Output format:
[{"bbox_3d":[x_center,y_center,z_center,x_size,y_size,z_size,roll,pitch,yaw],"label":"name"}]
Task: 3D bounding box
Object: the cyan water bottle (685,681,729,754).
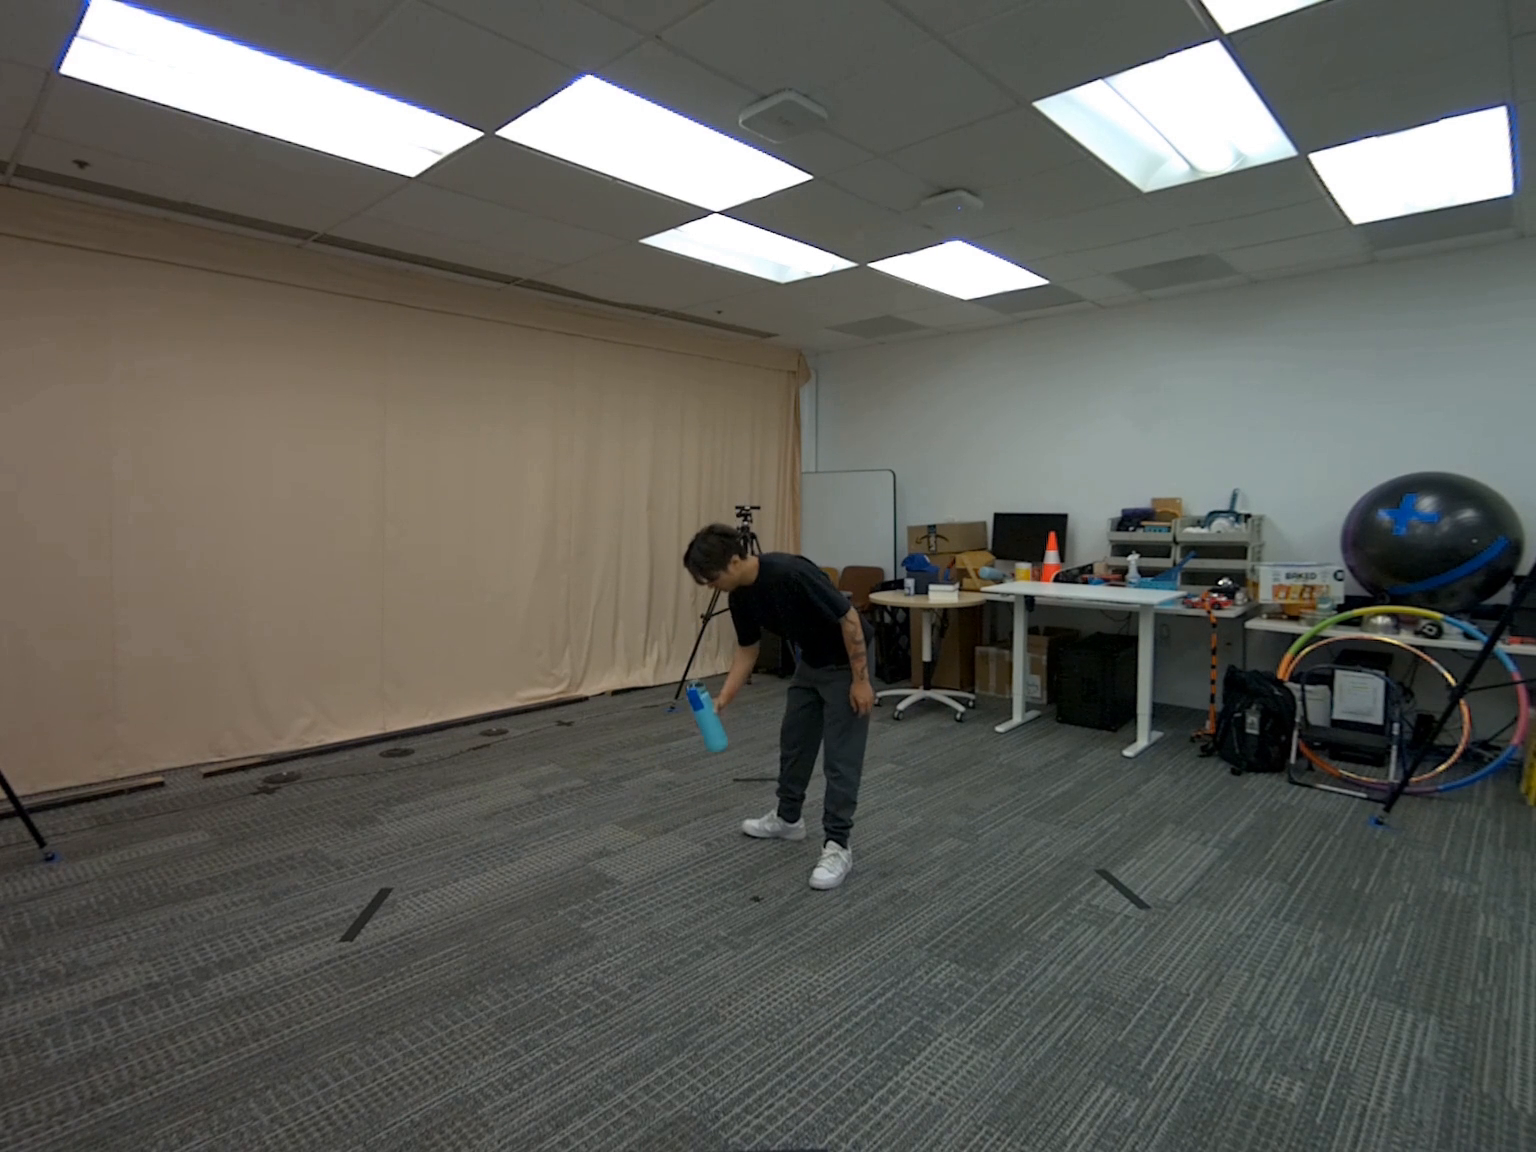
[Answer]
[{"bbox_3d":[-0.242,0.550,3.315,0.092,0.282,0.092,-22,4,0],"label":"cyan water bottle"}]
